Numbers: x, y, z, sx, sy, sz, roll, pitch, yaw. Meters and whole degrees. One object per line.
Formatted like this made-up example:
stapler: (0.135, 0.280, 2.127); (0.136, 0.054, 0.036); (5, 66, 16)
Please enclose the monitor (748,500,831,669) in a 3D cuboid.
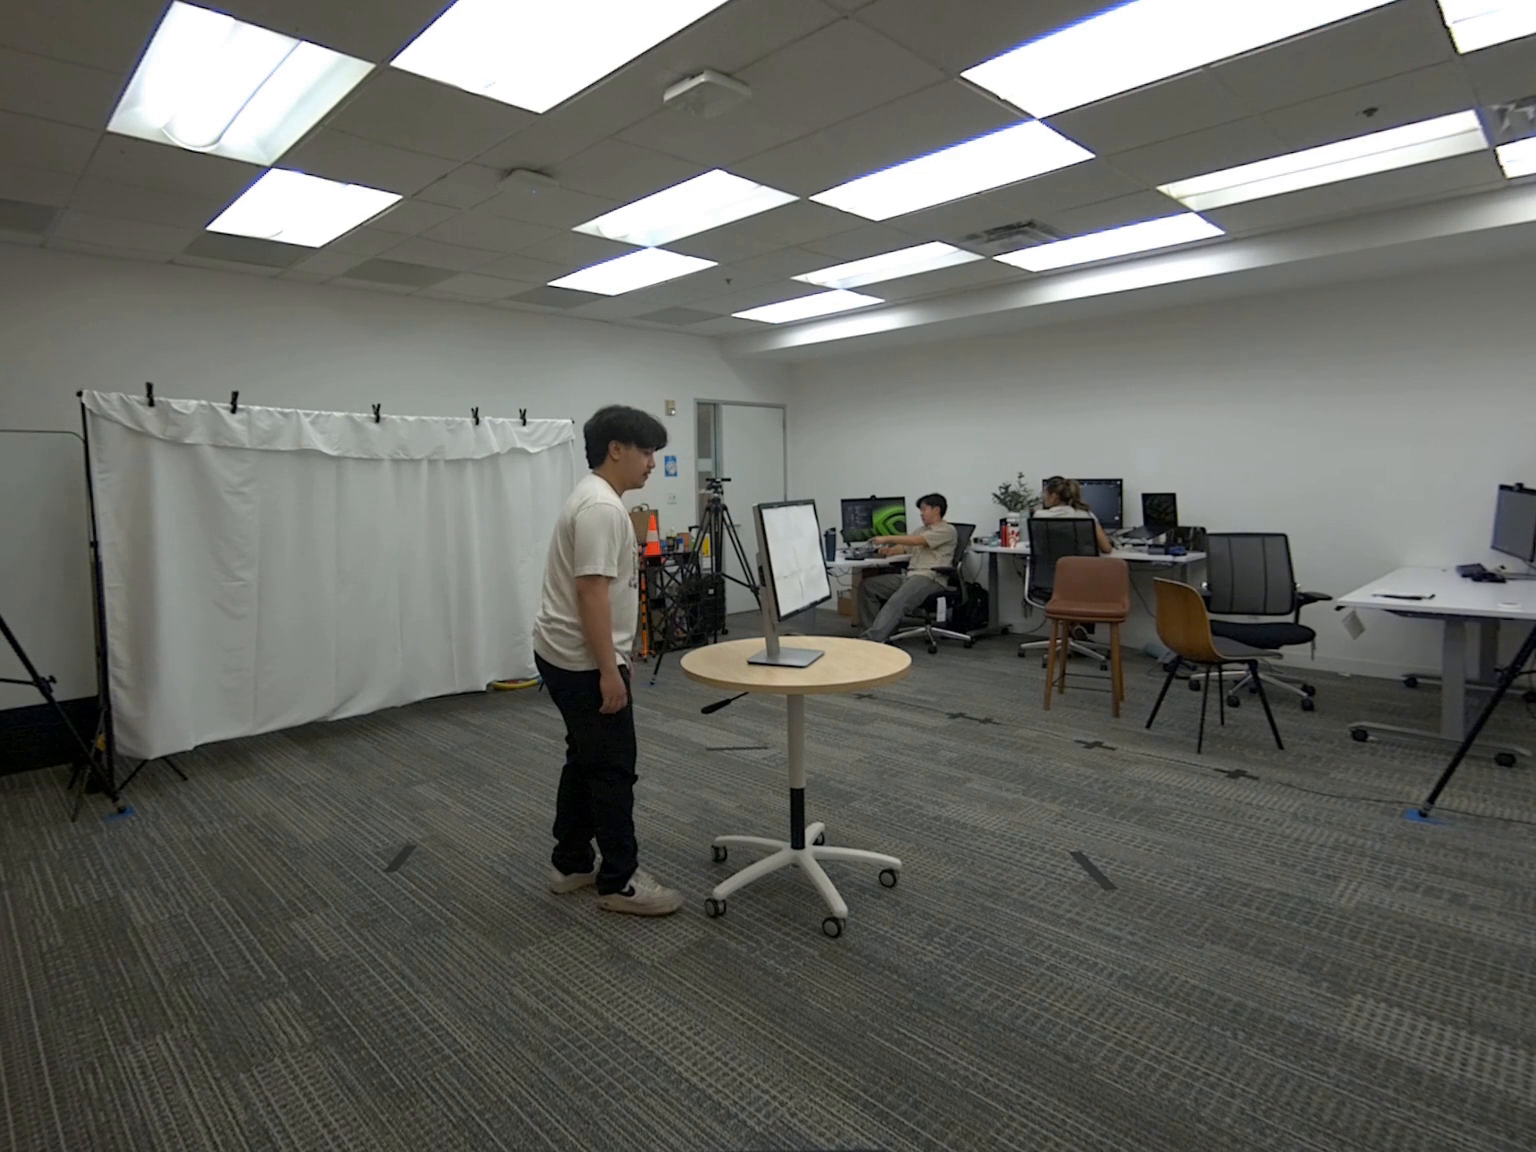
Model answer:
monitor: (0.031, 0.022, 2.851); (0.214, 0.553, 0.556); (-4, 3, 22)
